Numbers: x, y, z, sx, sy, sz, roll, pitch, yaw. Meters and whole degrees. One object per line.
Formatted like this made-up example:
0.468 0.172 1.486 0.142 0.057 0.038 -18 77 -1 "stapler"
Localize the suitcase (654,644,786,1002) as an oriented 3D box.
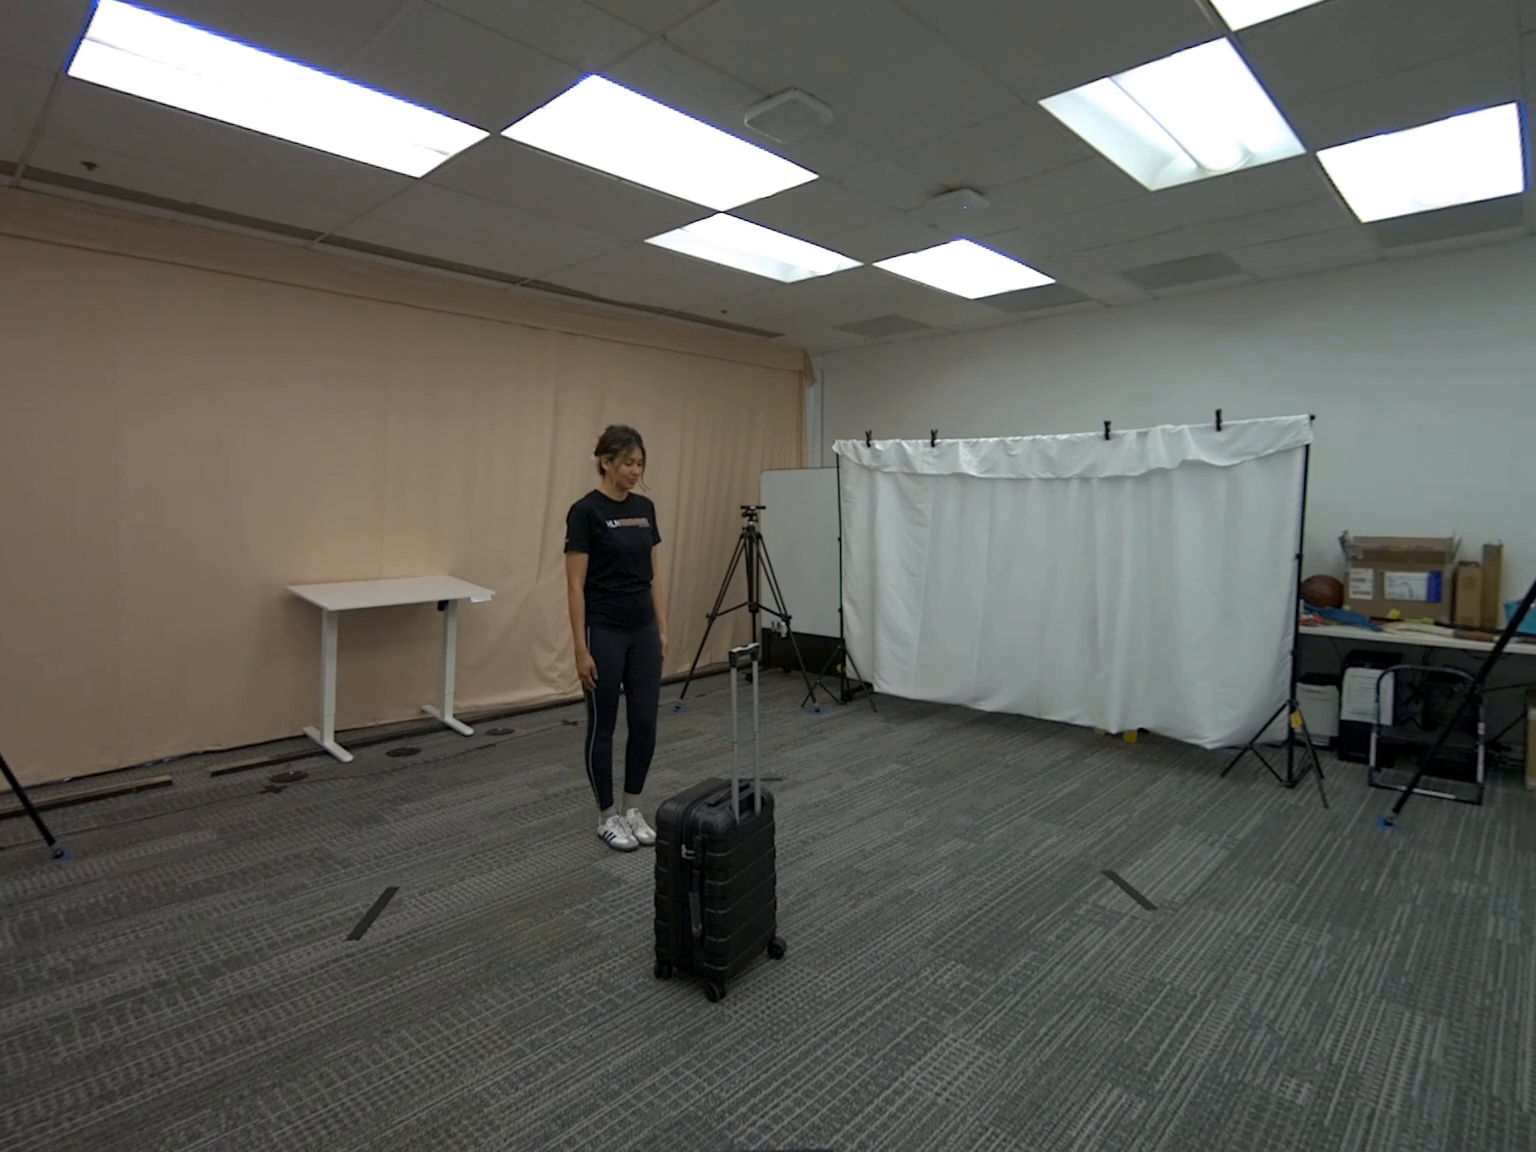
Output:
-0.159 0.709 2.511 0.264 0.976 0.374 0 4 30 "suitcase"
